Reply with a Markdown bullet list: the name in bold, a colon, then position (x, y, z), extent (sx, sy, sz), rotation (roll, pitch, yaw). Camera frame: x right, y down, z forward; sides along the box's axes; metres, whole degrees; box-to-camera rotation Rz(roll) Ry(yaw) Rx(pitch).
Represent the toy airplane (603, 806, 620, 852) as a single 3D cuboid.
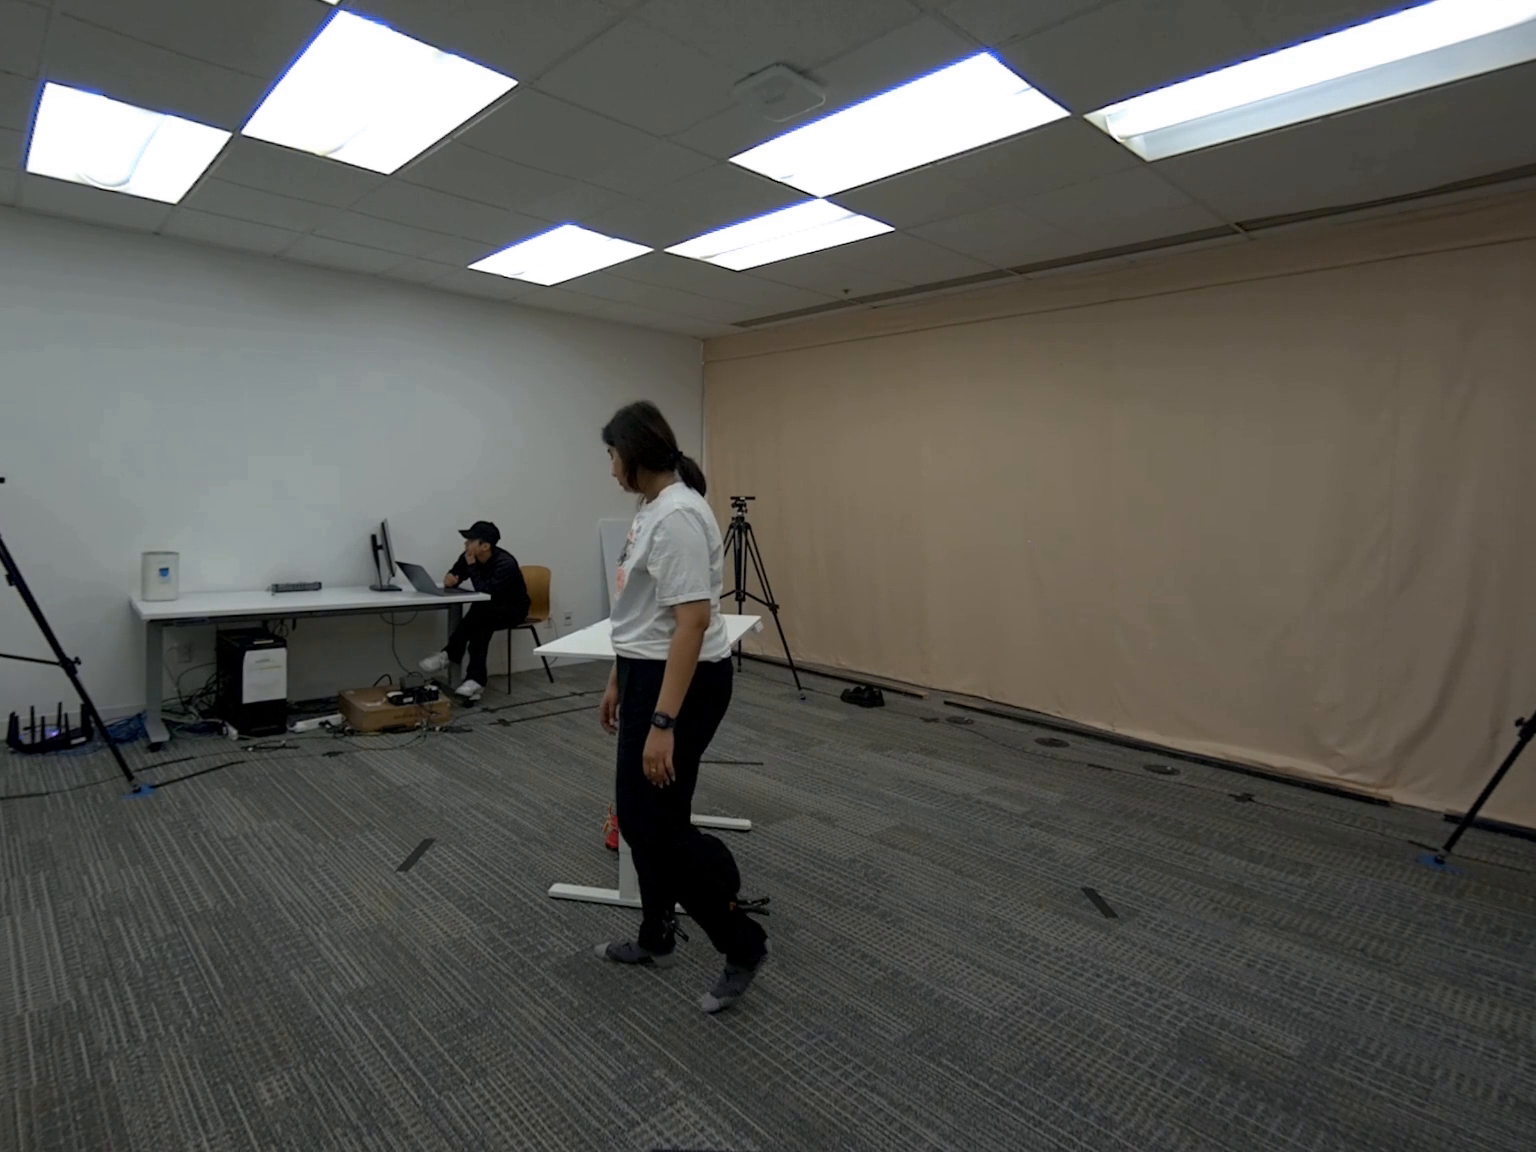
- **toy airplane**: position (-0.522, 1.007, 3.328), extent (0.257, 0.156, 0.254), rotation (0, 5, -10)
